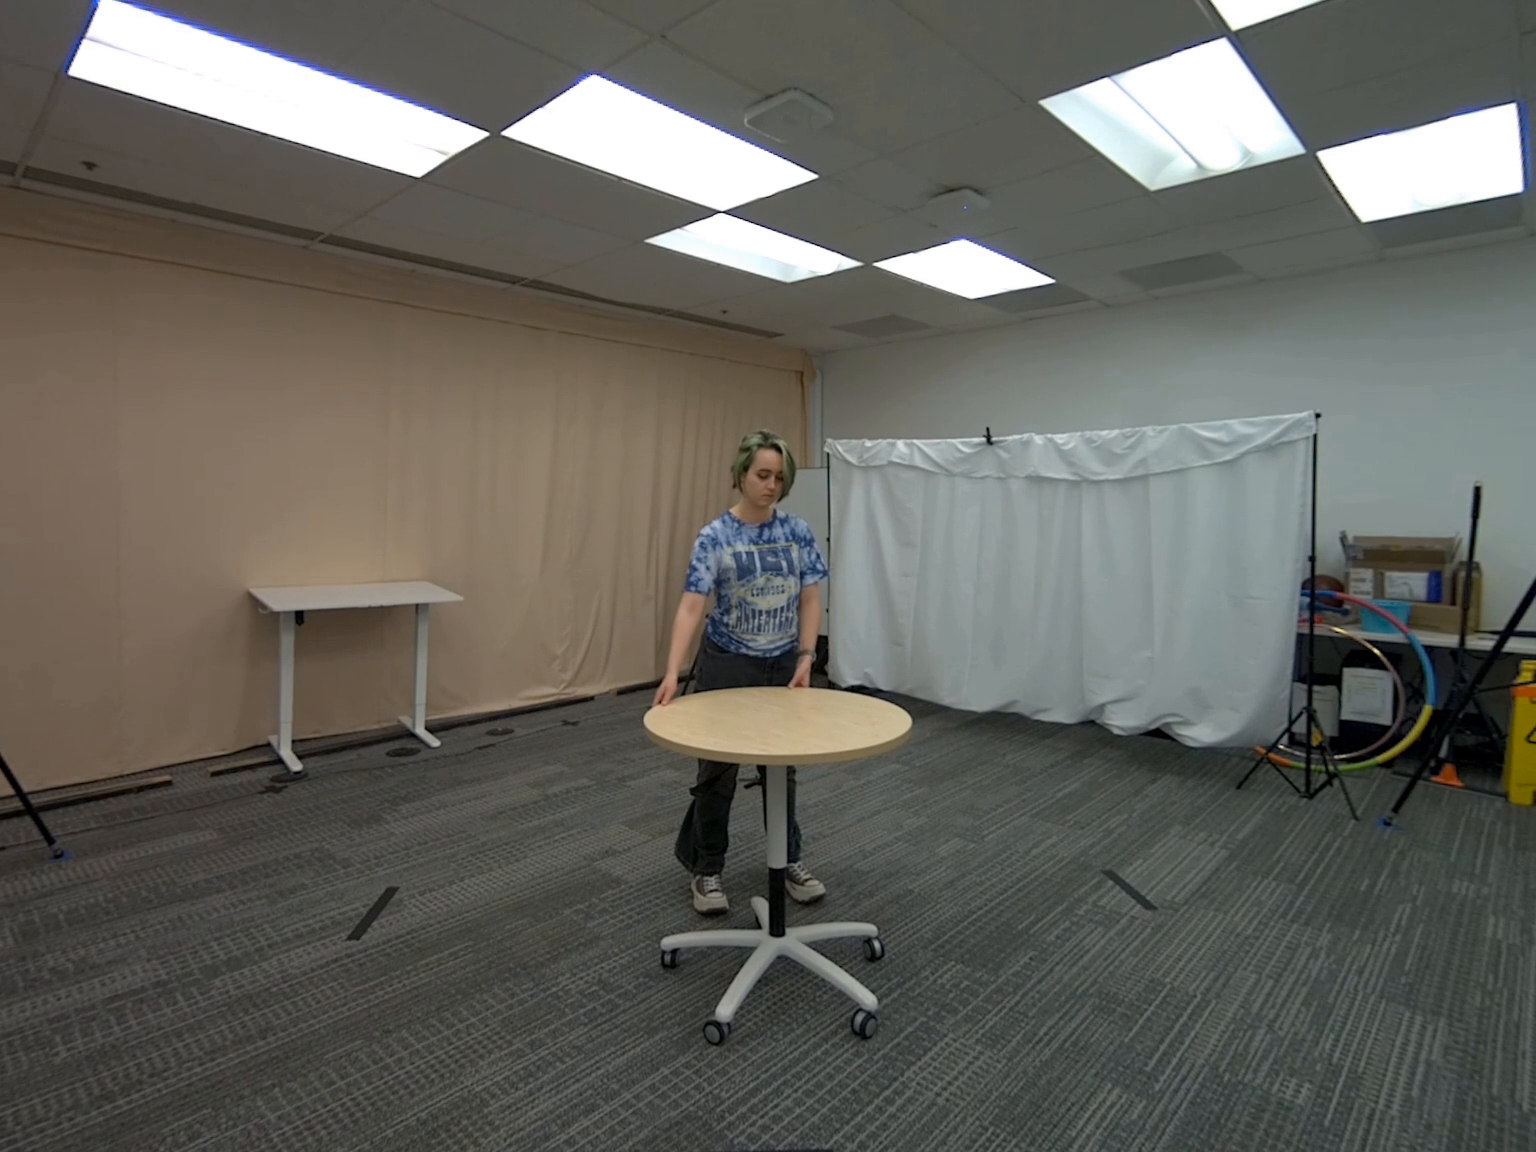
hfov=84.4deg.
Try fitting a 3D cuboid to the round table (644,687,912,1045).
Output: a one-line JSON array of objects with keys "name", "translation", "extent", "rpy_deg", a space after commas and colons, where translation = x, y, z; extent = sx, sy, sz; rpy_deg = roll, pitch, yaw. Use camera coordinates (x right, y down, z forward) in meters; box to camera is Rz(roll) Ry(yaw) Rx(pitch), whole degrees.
[{"name": "round table", "translation": [0.032, 0.801, 2.445], "extent": [0.763, 0.792, 0.766], "rpy_deg": [-1, 4, -2]}]
